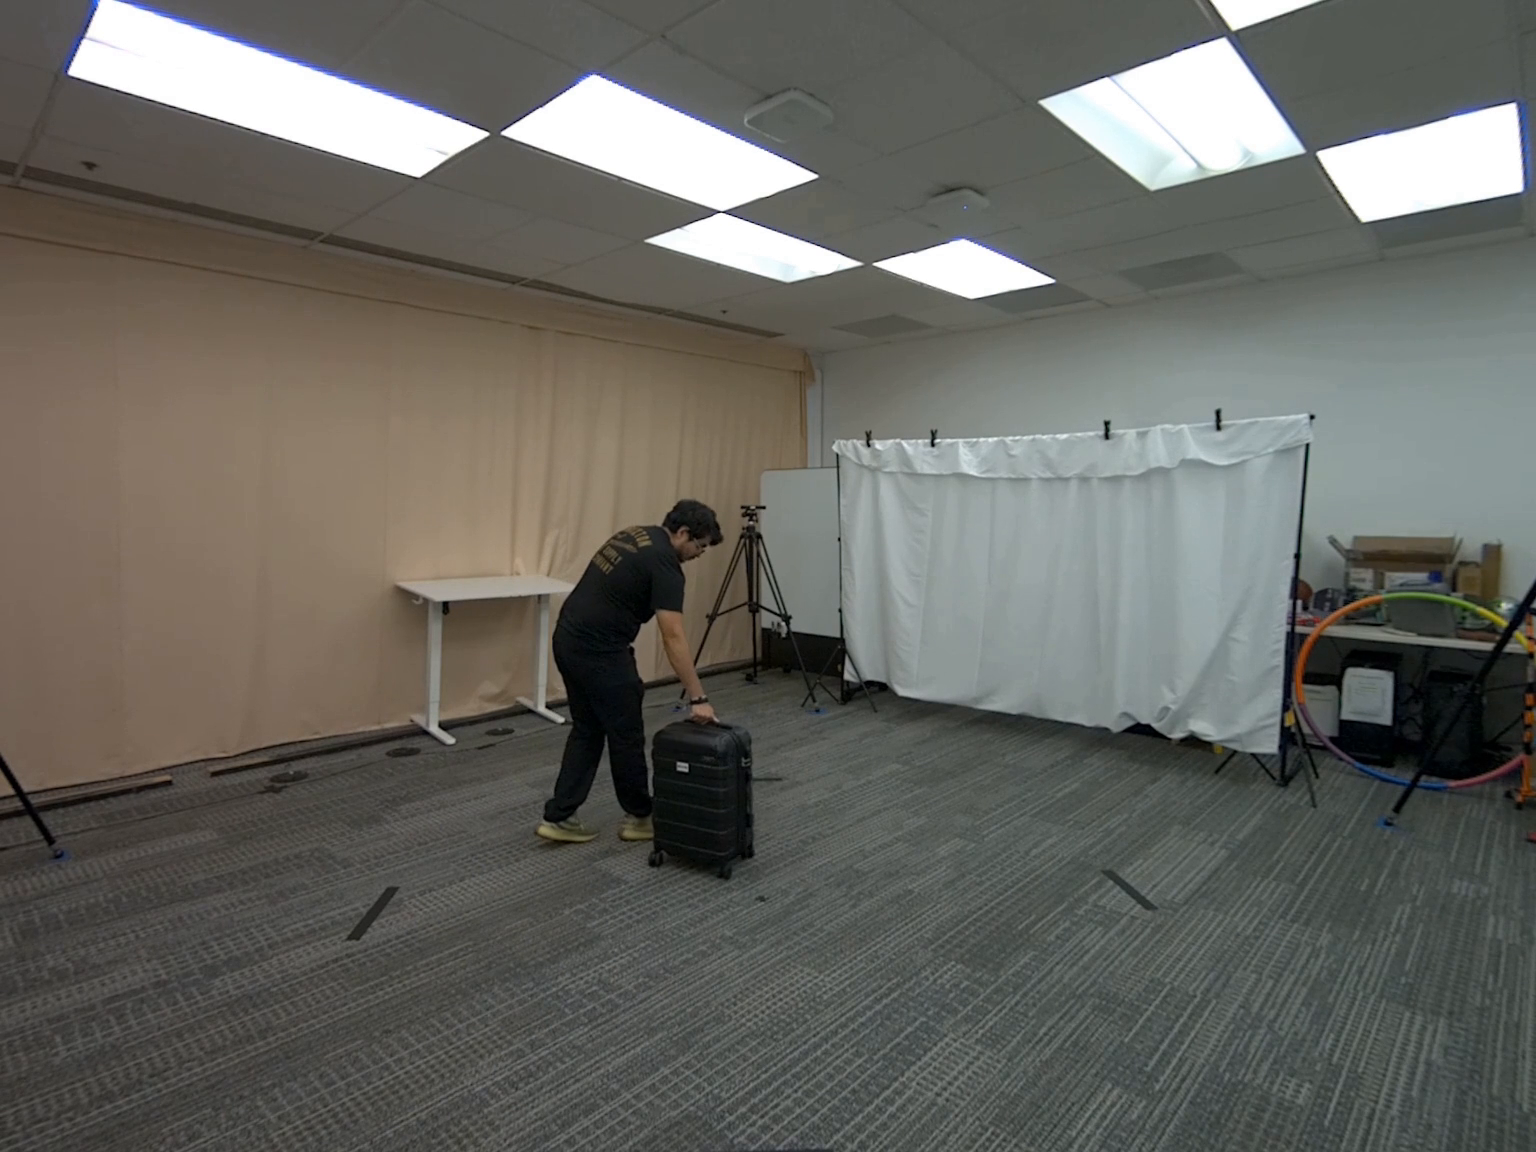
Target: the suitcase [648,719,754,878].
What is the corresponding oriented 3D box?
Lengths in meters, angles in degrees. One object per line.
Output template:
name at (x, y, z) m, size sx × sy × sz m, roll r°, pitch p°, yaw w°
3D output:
suitcase at (-0.249, 0.846, 3.277) m, size 0.386 × 0.548 × 0.242 m, roll 2°, pitch 5°, yaw 29°
